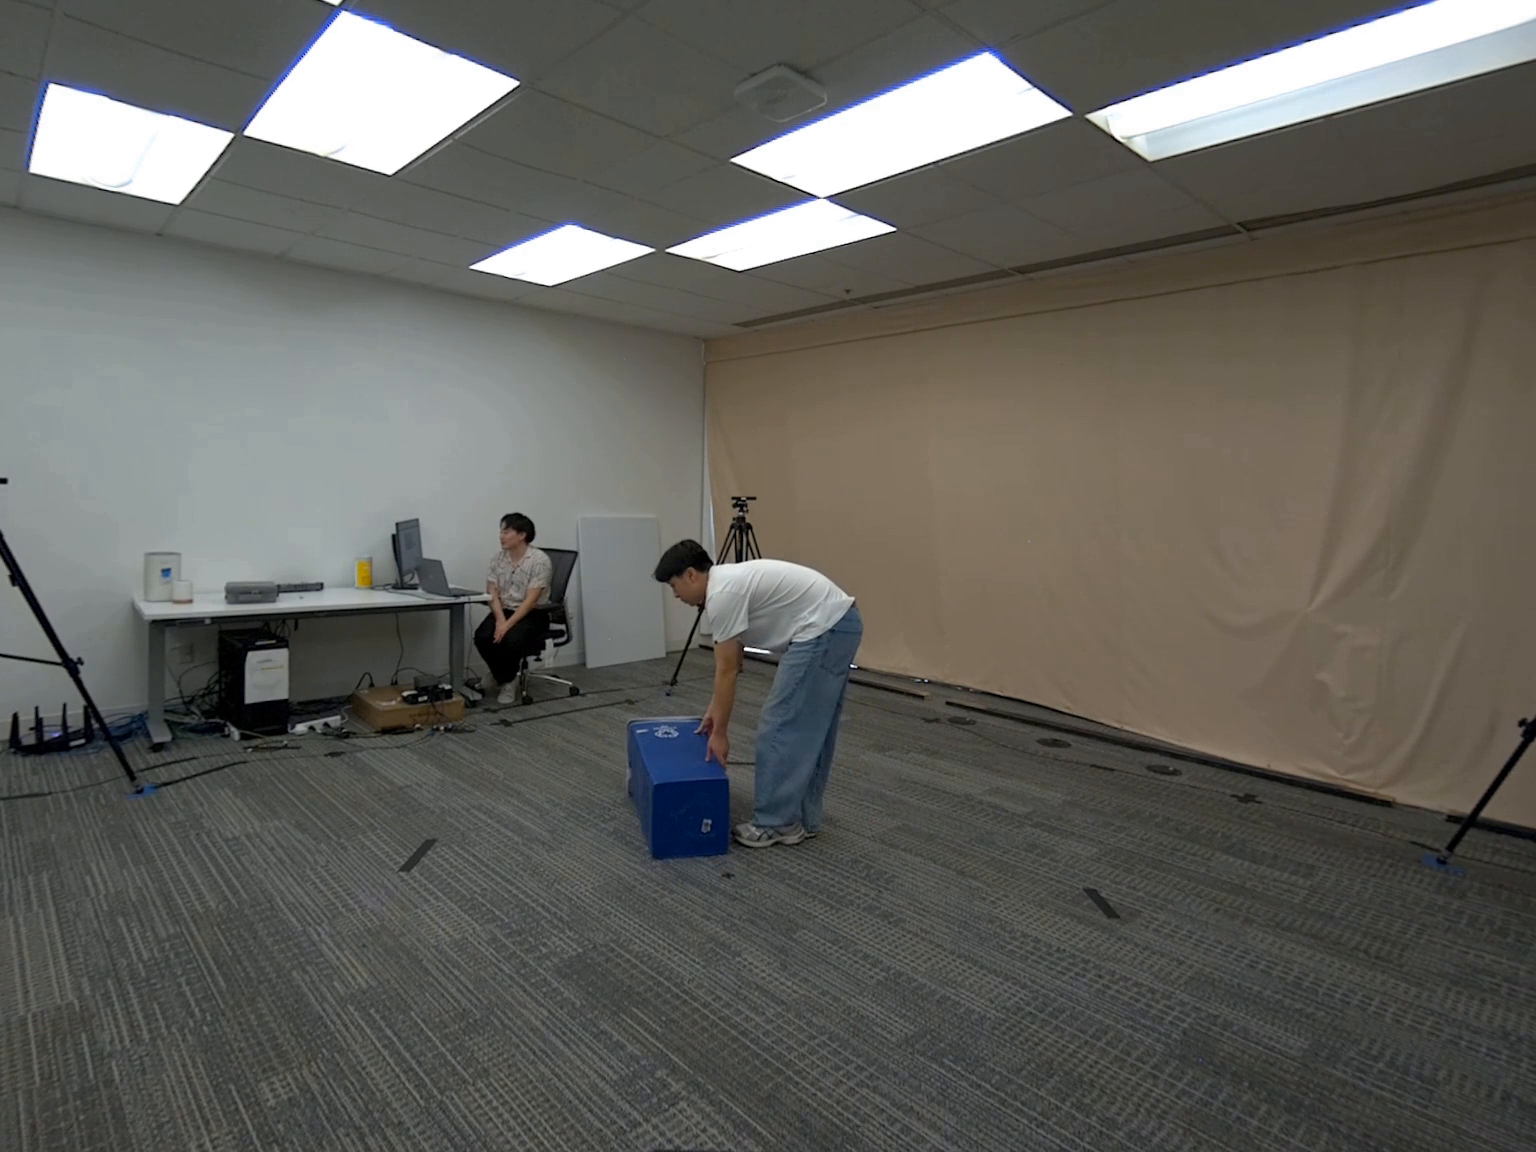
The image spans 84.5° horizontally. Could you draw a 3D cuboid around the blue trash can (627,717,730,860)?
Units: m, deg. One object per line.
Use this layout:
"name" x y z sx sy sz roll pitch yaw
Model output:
"blue trash can" -0.389 0.890 3.582 0.370 0.376 0.725 0 8 -15
